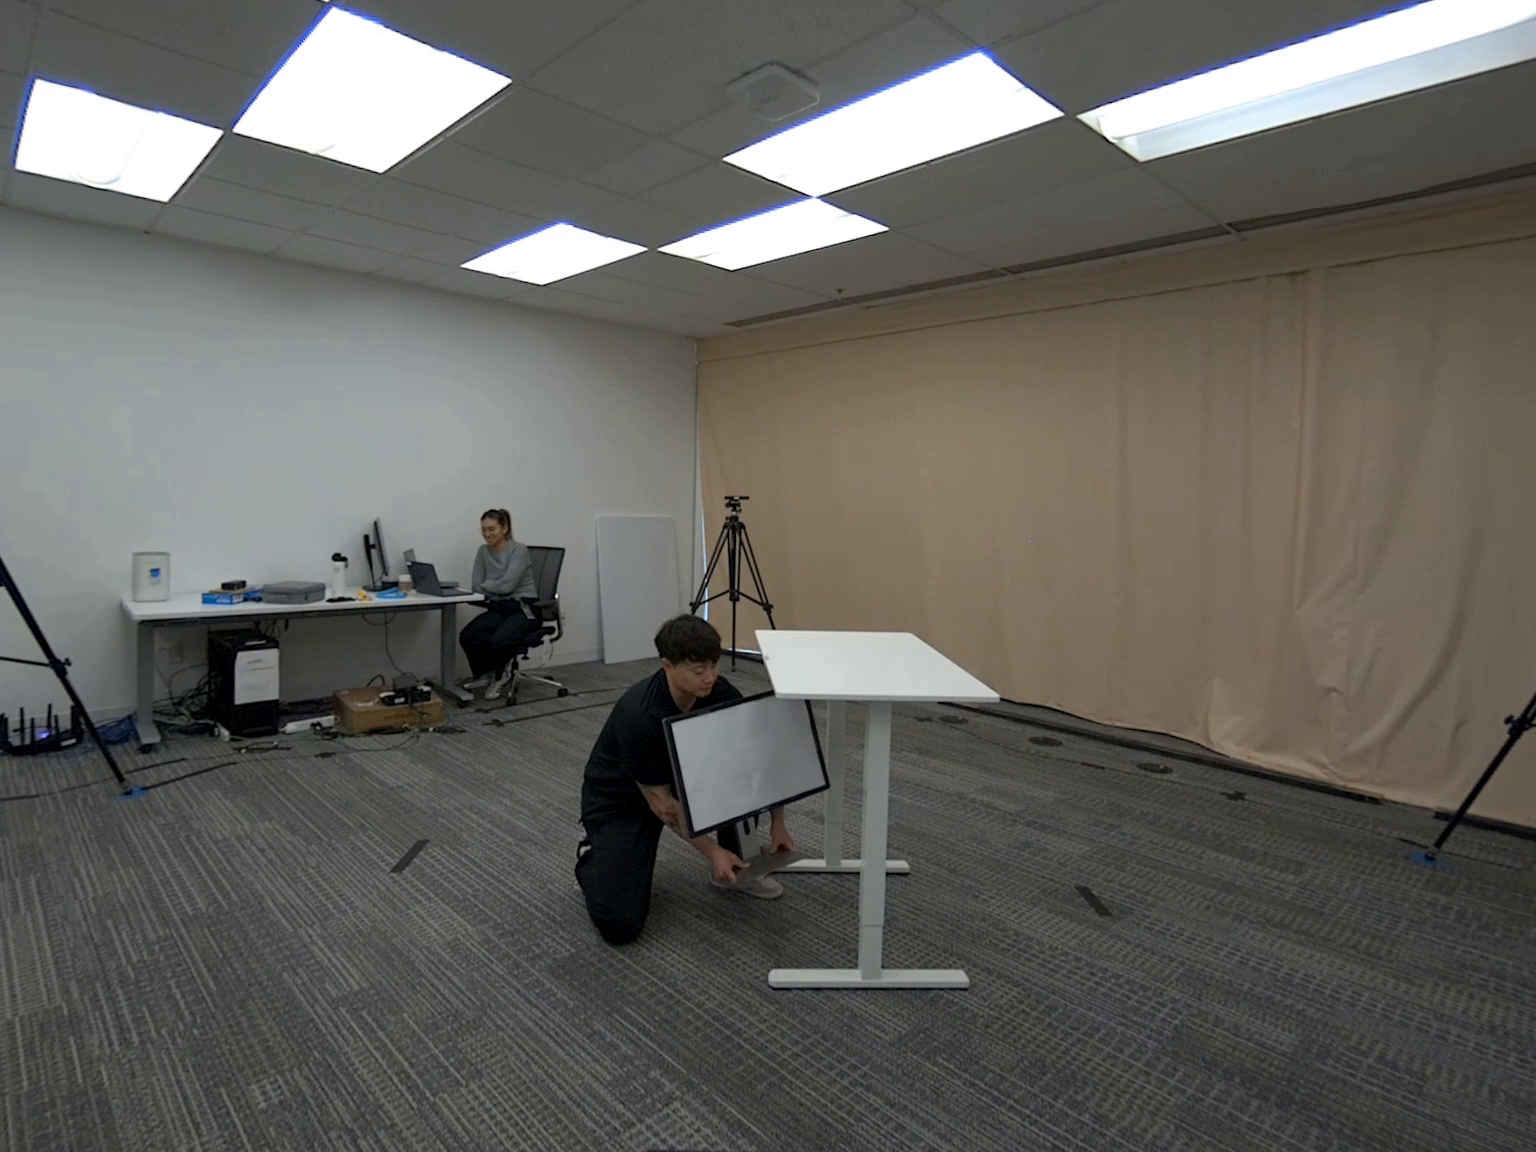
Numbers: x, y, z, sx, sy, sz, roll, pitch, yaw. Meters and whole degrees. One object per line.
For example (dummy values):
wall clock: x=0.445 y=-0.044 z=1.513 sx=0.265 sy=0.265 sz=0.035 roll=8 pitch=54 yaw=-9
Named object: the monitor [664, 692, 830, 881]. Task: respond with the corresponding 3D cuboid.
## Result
monitor: x=-0.078 y=0.673 z=2.726 sx=0.528 sy=0.522 sz=0.191 roll=-9 pitch=3 yaw=-39
